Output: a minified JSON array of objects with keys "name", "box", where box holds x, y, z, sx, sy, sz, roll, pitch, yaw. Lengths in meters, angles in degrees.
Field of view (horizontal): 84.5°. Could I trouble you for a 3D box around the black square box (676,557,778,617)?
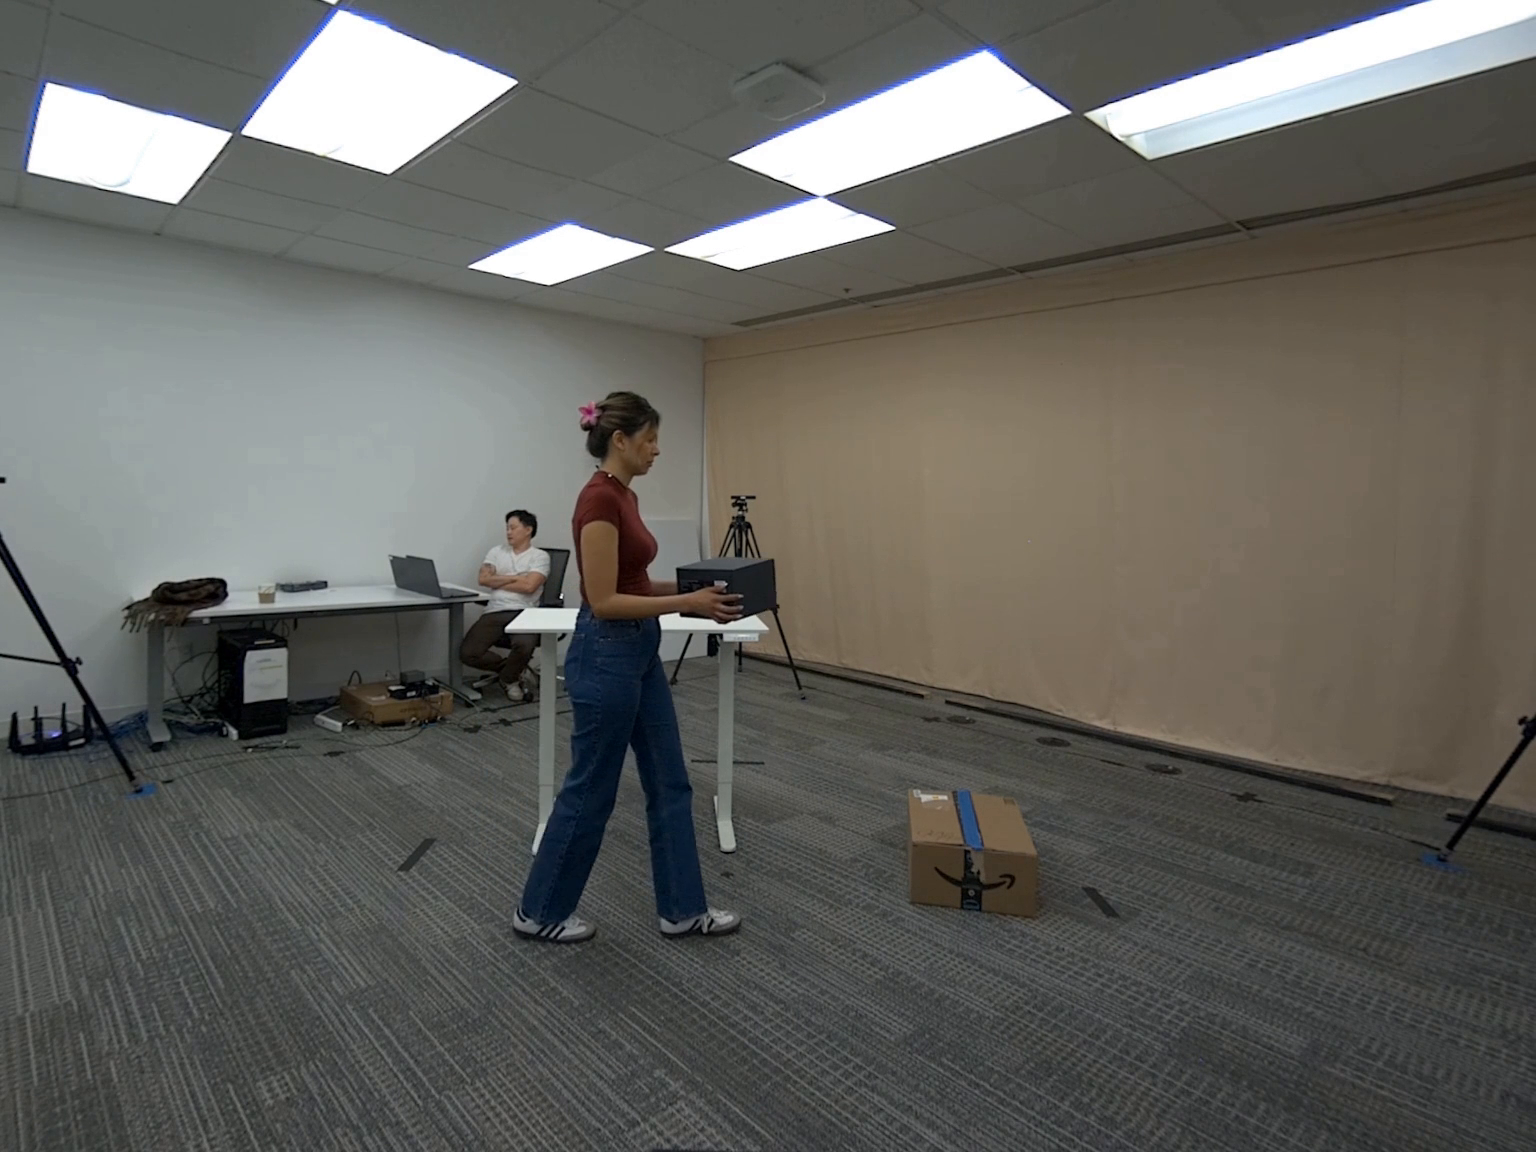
[{"name":"black square box","box":[-0.128,0.032,2.593,0.222,0.155,0.224,1,9,33]}]
